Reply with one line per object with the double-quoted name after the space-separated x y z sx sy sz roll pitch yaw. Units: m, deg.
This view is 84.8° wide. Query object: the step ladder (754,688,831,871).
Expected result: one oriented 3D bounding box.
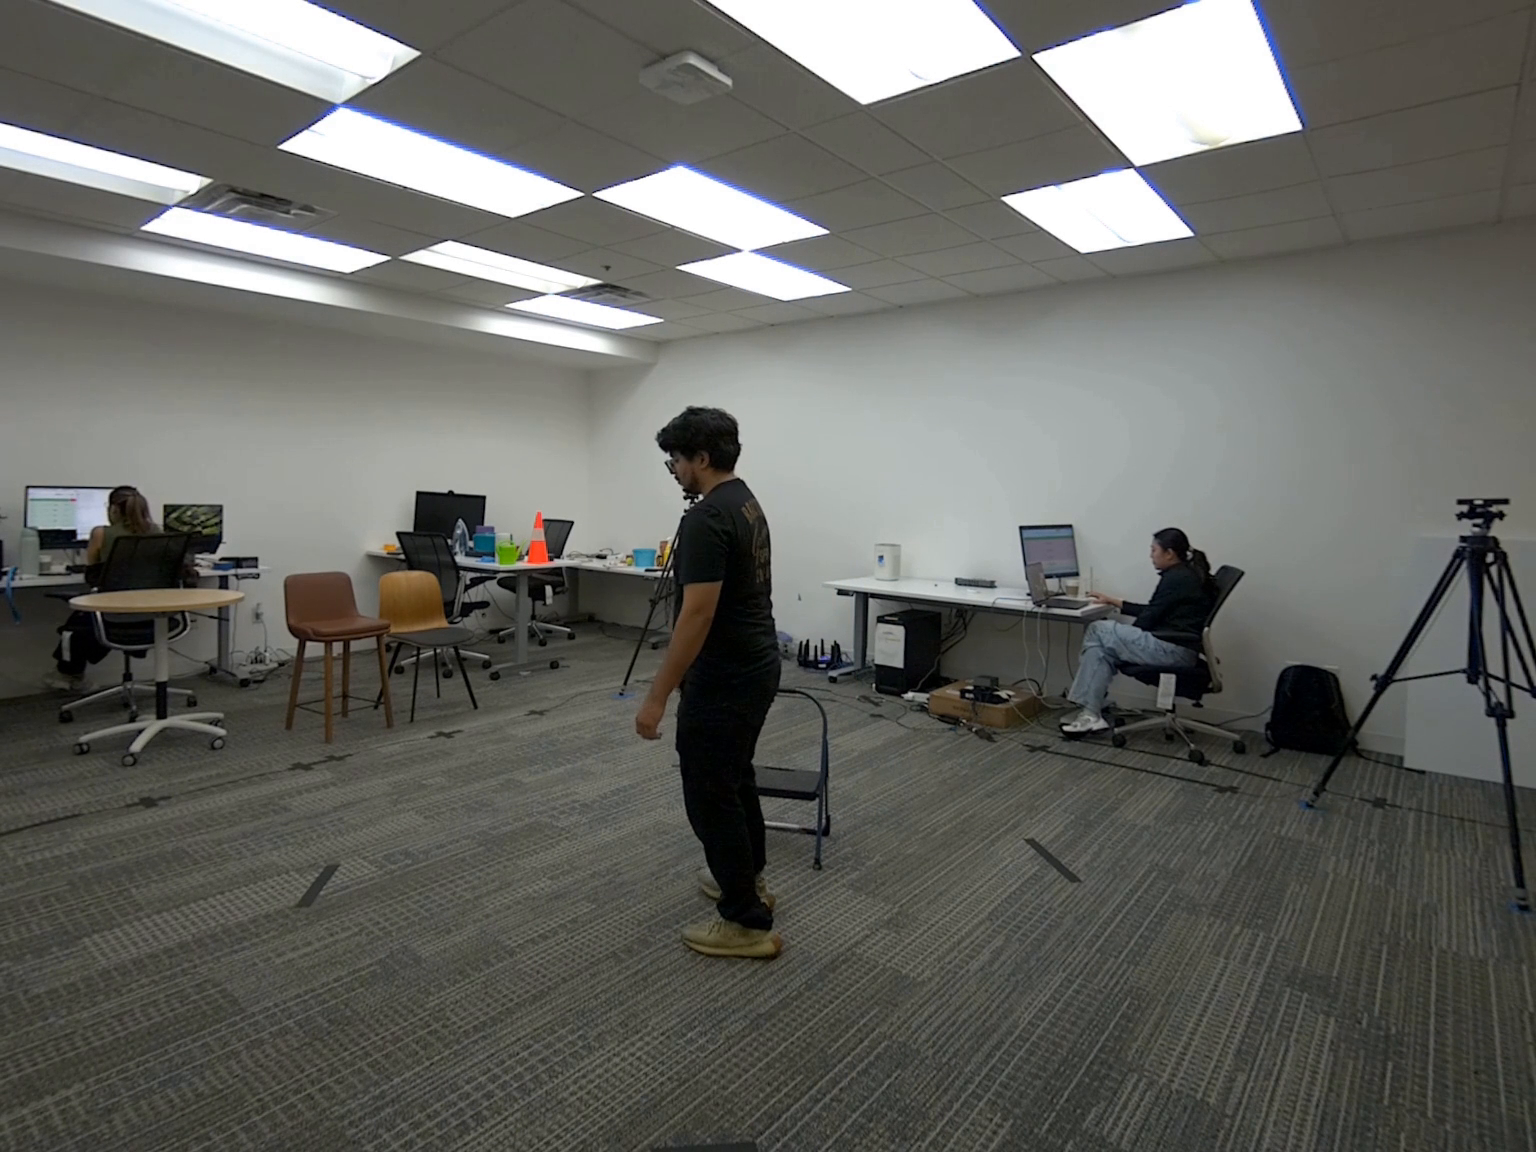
0.021 0.748 3.329 0.437 0.604 0.345 2 4 13 "step ladder"
